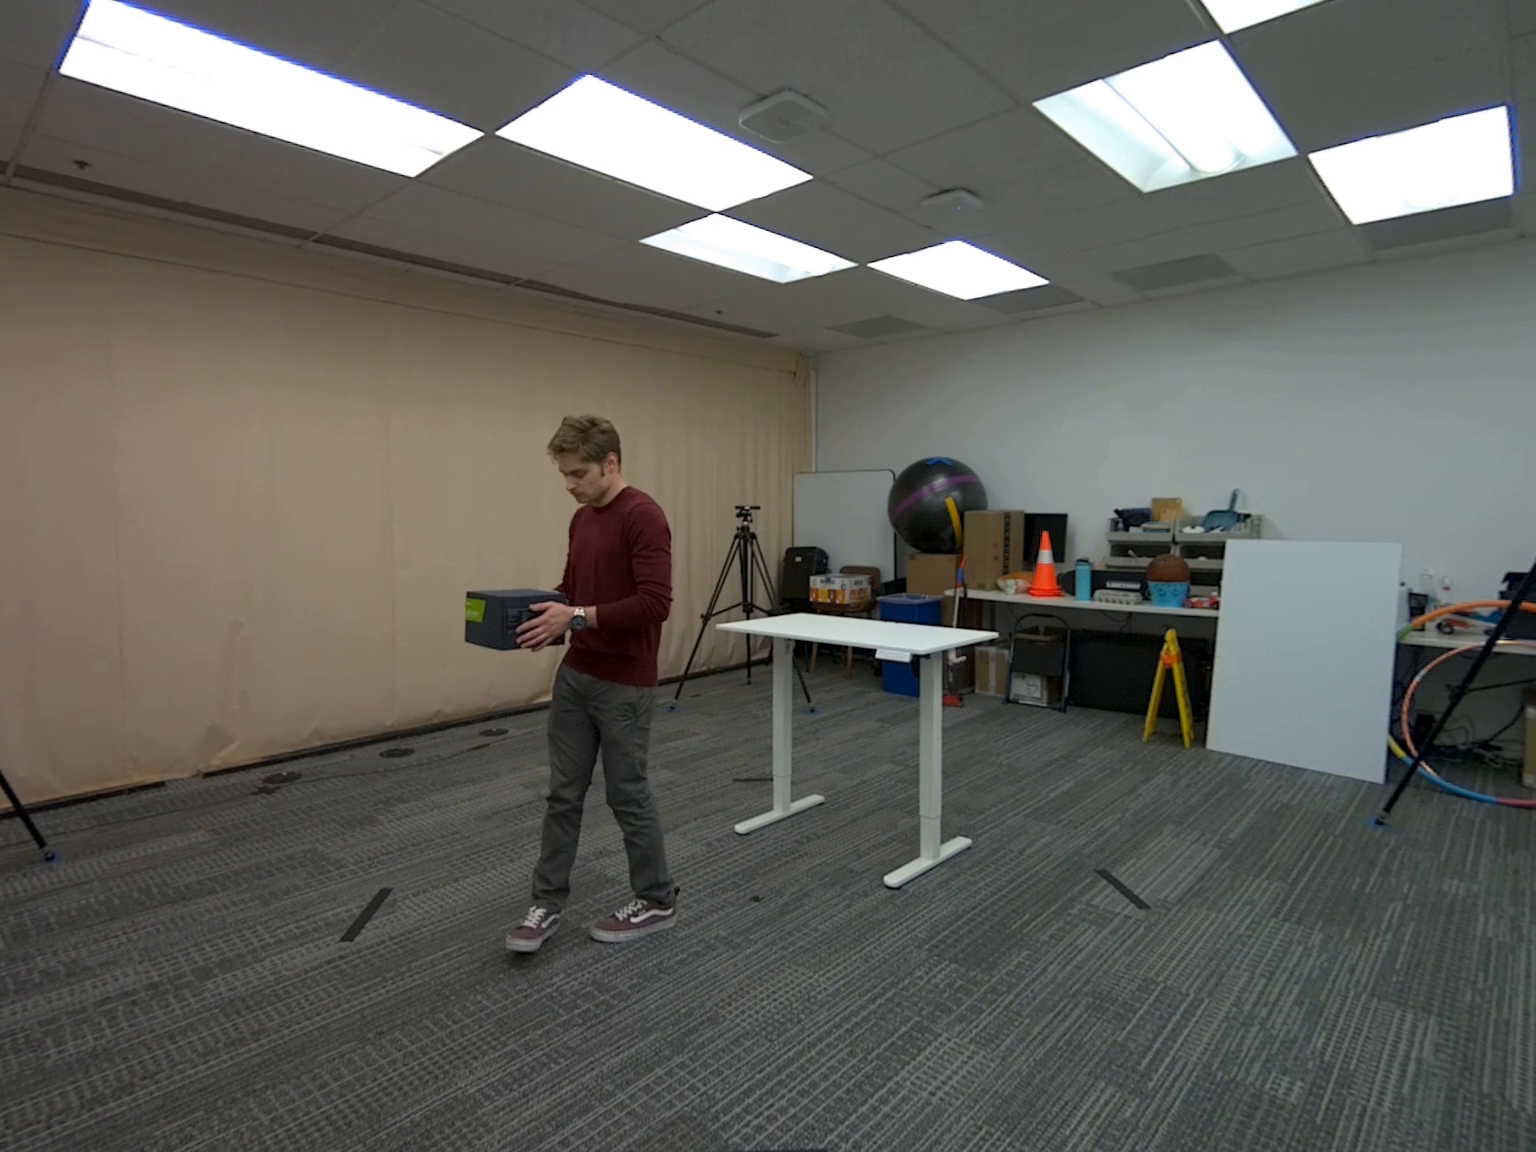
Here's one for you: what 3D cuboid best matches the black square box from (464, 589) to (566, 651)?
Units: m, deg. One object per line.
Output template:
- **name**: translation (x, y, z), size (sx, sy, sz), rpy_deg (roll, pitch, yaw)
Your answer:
- **black square box**: translation (-0.760, 0.128, 2.548), size (0.210, 0.156, 0.235), rpy_deg (-2, 4, -45)
